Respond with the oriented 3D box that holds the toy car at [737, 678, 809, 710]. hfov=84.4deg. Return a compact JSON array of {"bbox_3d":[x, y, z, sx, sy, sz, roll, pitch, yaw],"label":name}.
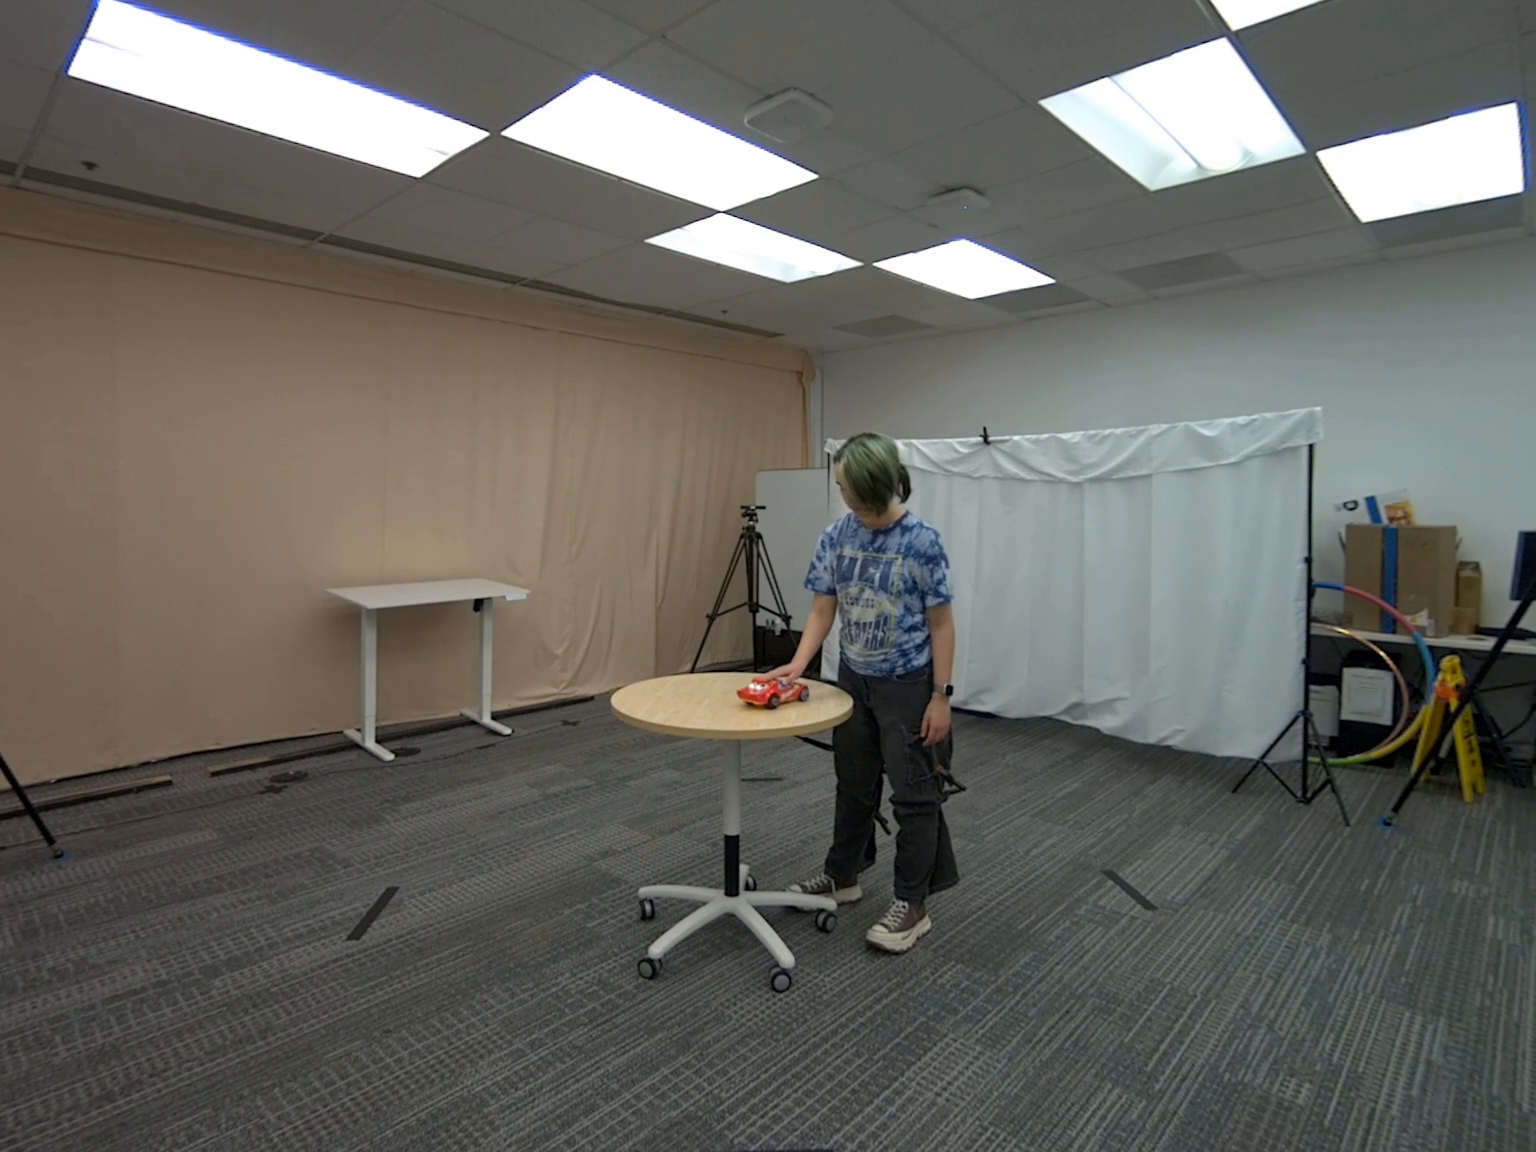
[{"bbox_3d":[0.020,0.368,2.593,0.135,0.083,0.246,7,-3,44],"label":"toy car"}]
